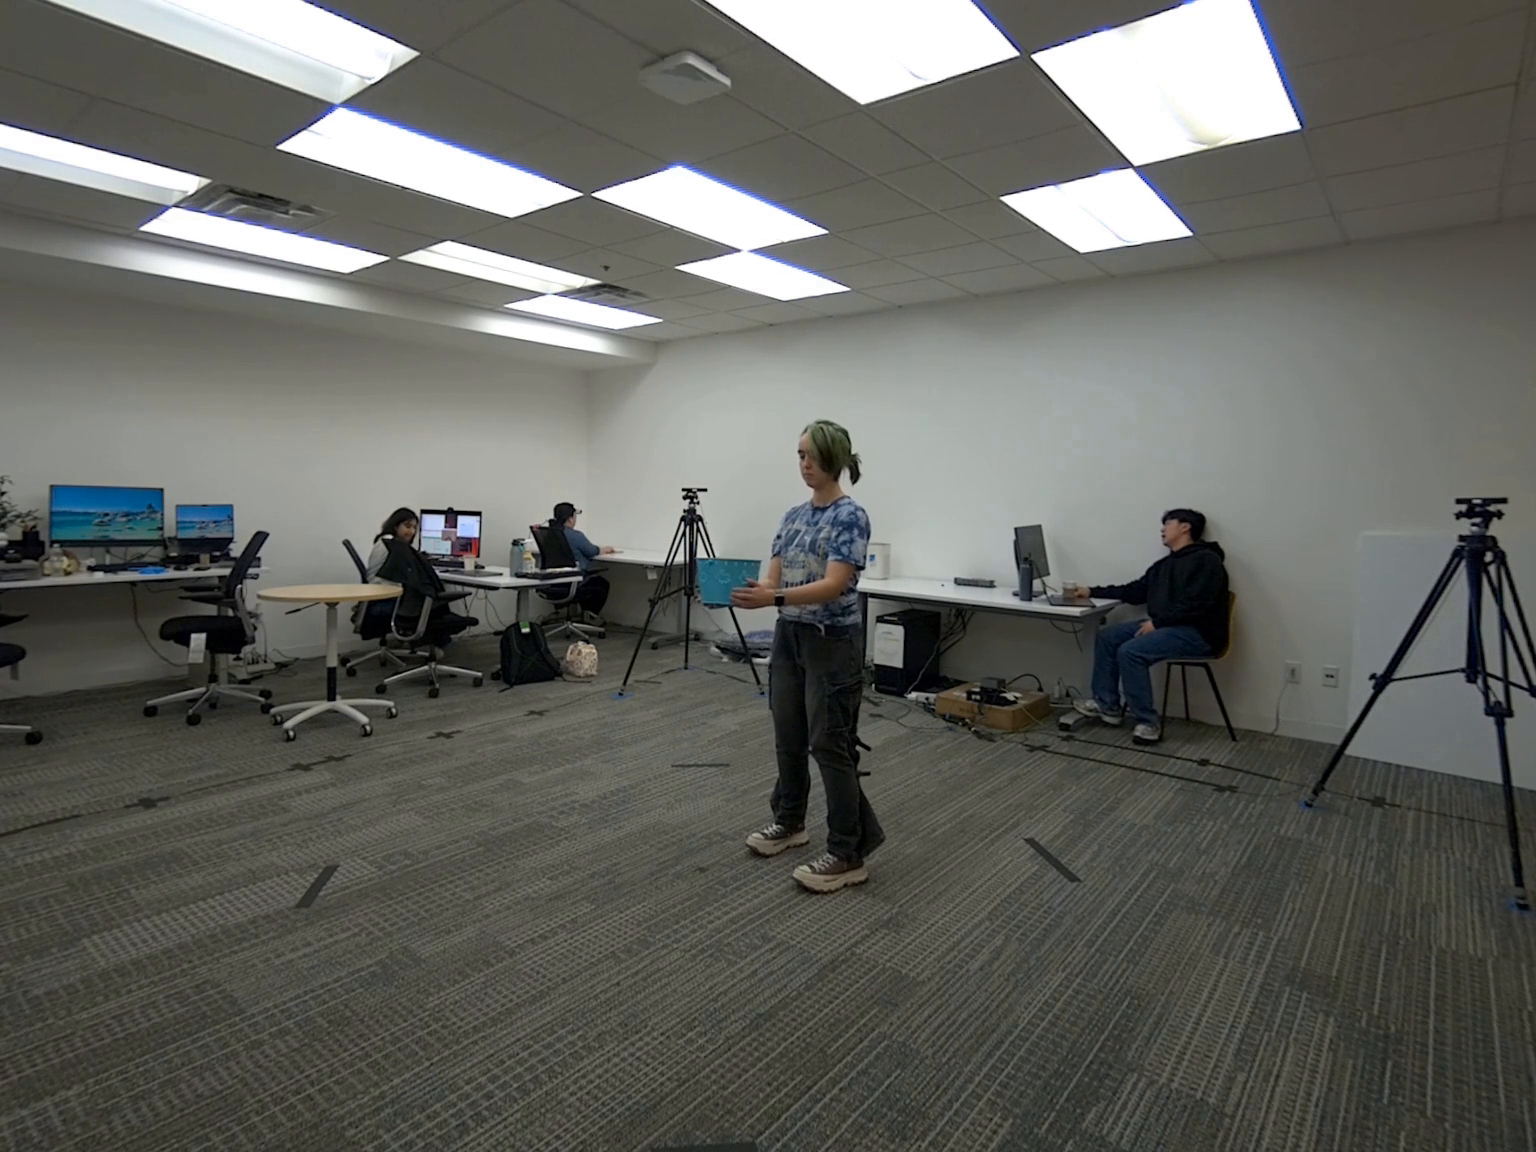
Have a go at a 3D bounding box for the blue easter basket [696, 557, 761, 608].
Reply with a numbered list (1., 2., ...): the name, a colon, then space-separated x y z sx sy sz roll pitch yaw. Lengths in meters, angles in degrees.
1. blue easter basket: -0.140 0.017 2.923 0.243 0.156 0.244 3 1 -2
